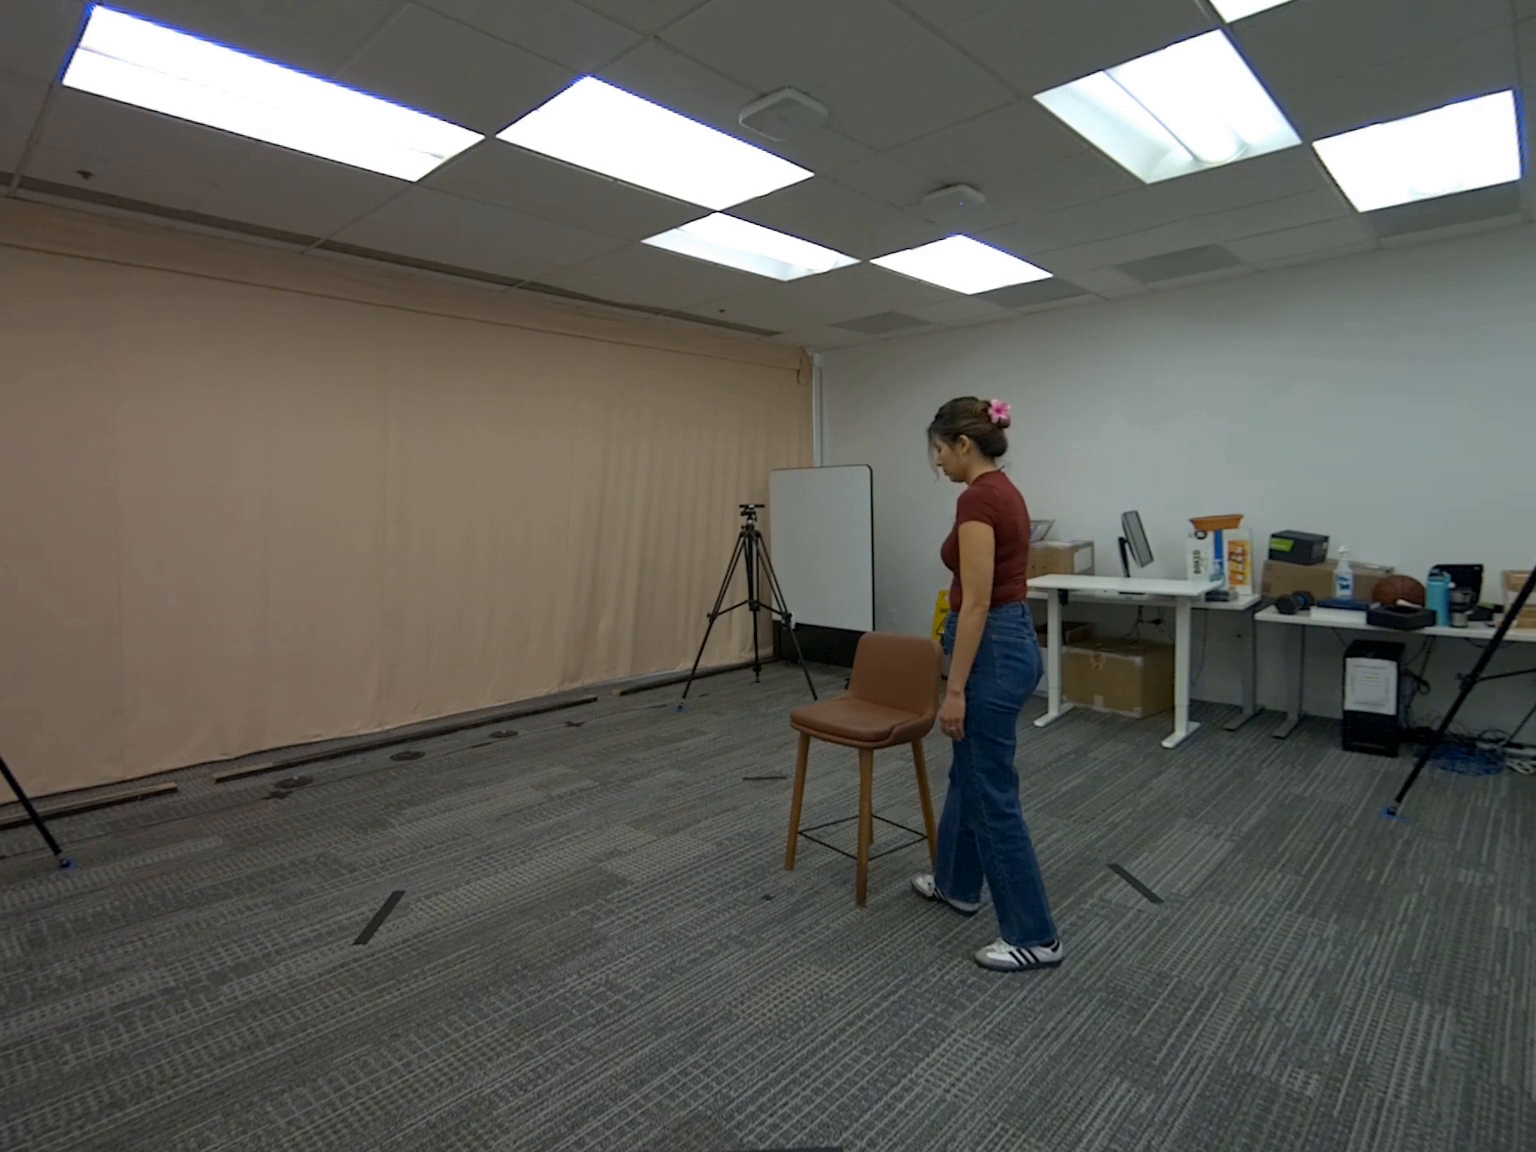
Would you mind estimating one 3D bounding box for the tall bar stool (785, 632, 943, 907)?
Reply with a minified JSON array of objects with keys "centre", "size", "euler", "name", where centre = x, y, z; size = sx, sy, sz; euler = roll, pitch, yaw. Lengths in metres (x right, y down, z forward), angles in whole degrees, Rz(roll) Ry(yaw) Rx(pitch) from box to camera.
[{"centre":[0.363,0.683,3.163],"size":[0.453,0.888,0.471],"euler":[-1,3,-38],"name":"tall bar stool"}]
